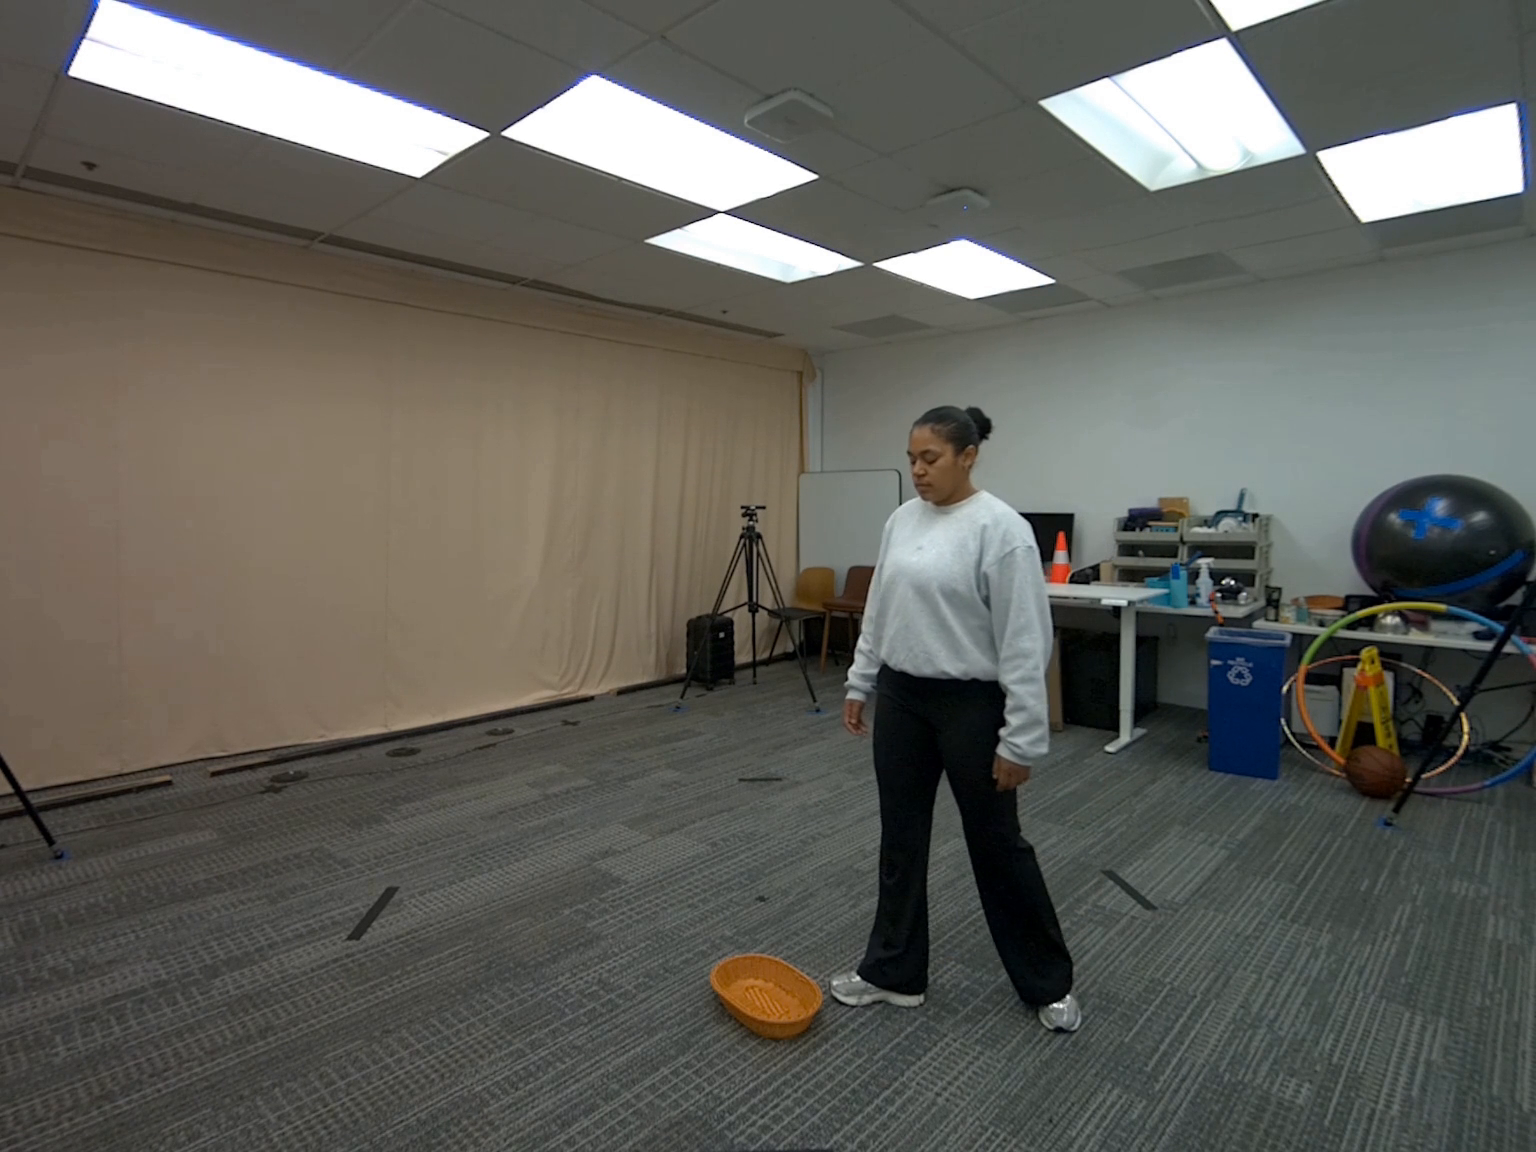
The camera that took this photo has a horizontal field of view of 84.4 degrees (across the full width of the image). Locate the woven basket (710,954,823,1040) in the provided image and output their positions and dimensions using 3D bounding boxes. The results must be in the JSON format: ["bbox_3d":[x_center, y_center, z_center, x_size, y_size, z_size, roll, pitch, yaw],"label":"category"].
[{"bbox_3d":[-0.010,1.161,2.324,0.245,0.073,0.362,-3,5,-36],"label":"woven basket"}]
